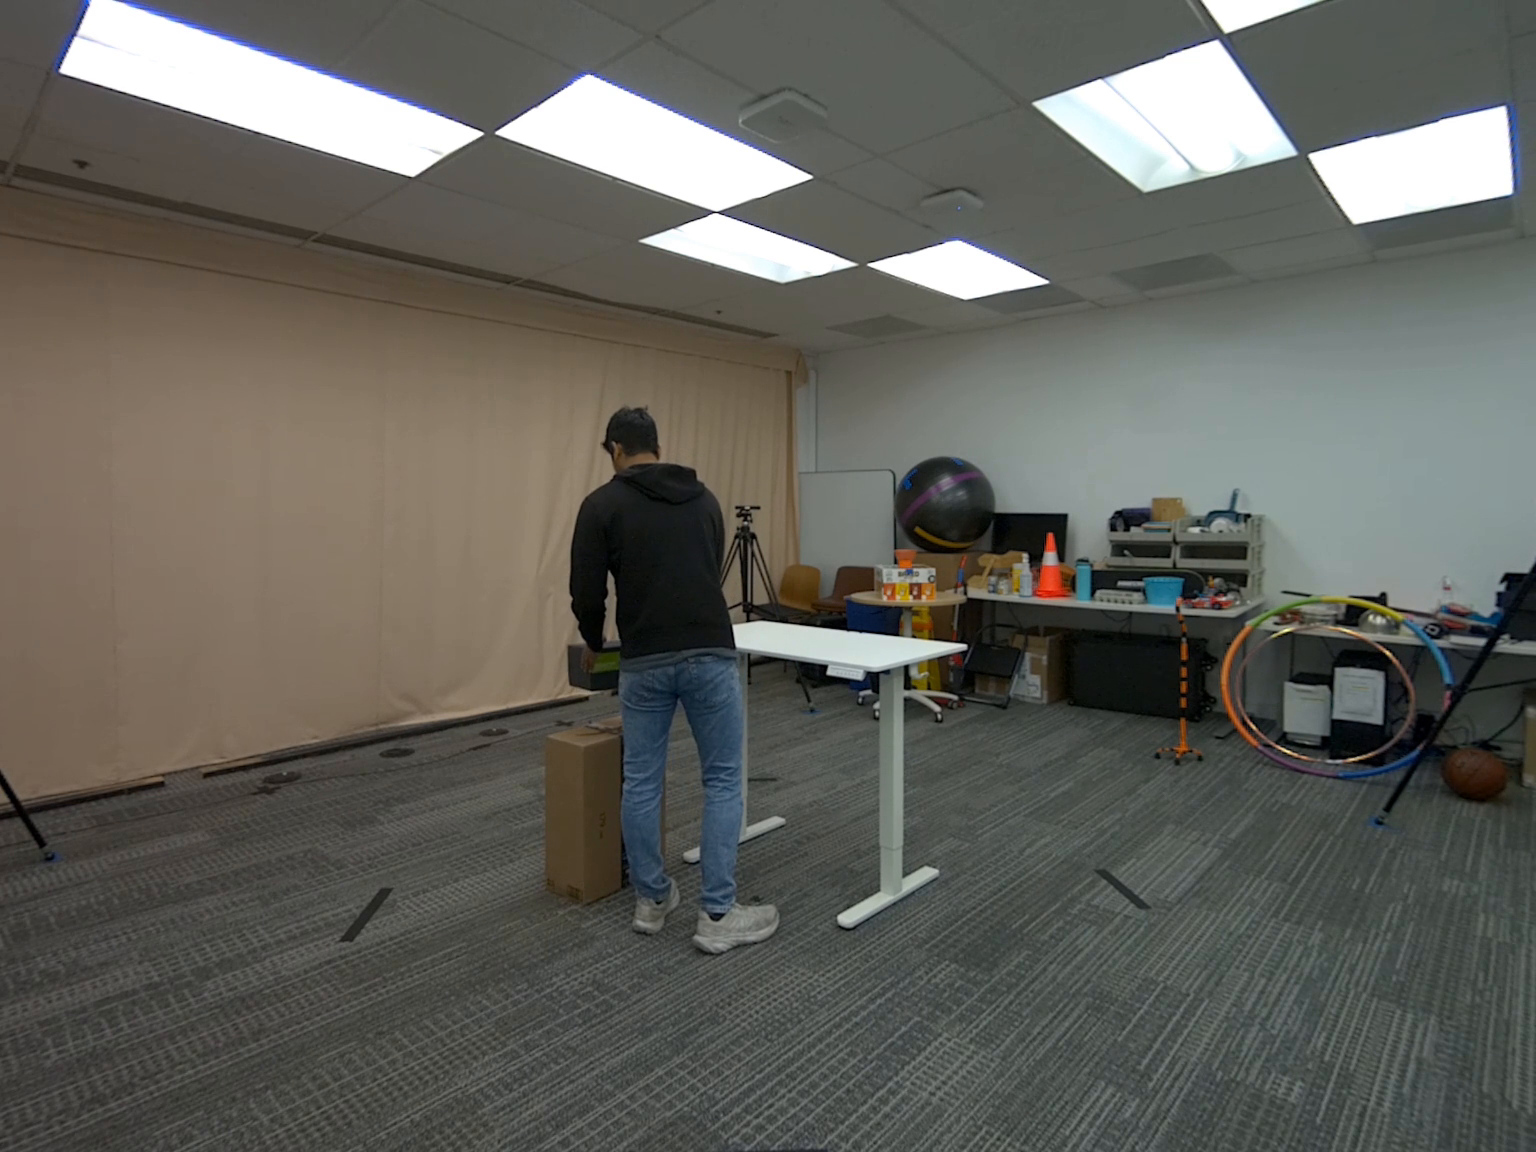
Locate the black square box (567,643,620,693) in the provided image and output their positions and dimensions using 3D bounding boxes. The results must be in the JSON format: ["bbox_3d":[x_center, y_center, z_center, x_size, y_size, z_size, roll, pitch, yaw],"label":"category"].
[{"bbox_3d":[-0.600,0.334,3.166,0.221,0.156,0.223,-1,0,-35],"label":"black square box"}]
